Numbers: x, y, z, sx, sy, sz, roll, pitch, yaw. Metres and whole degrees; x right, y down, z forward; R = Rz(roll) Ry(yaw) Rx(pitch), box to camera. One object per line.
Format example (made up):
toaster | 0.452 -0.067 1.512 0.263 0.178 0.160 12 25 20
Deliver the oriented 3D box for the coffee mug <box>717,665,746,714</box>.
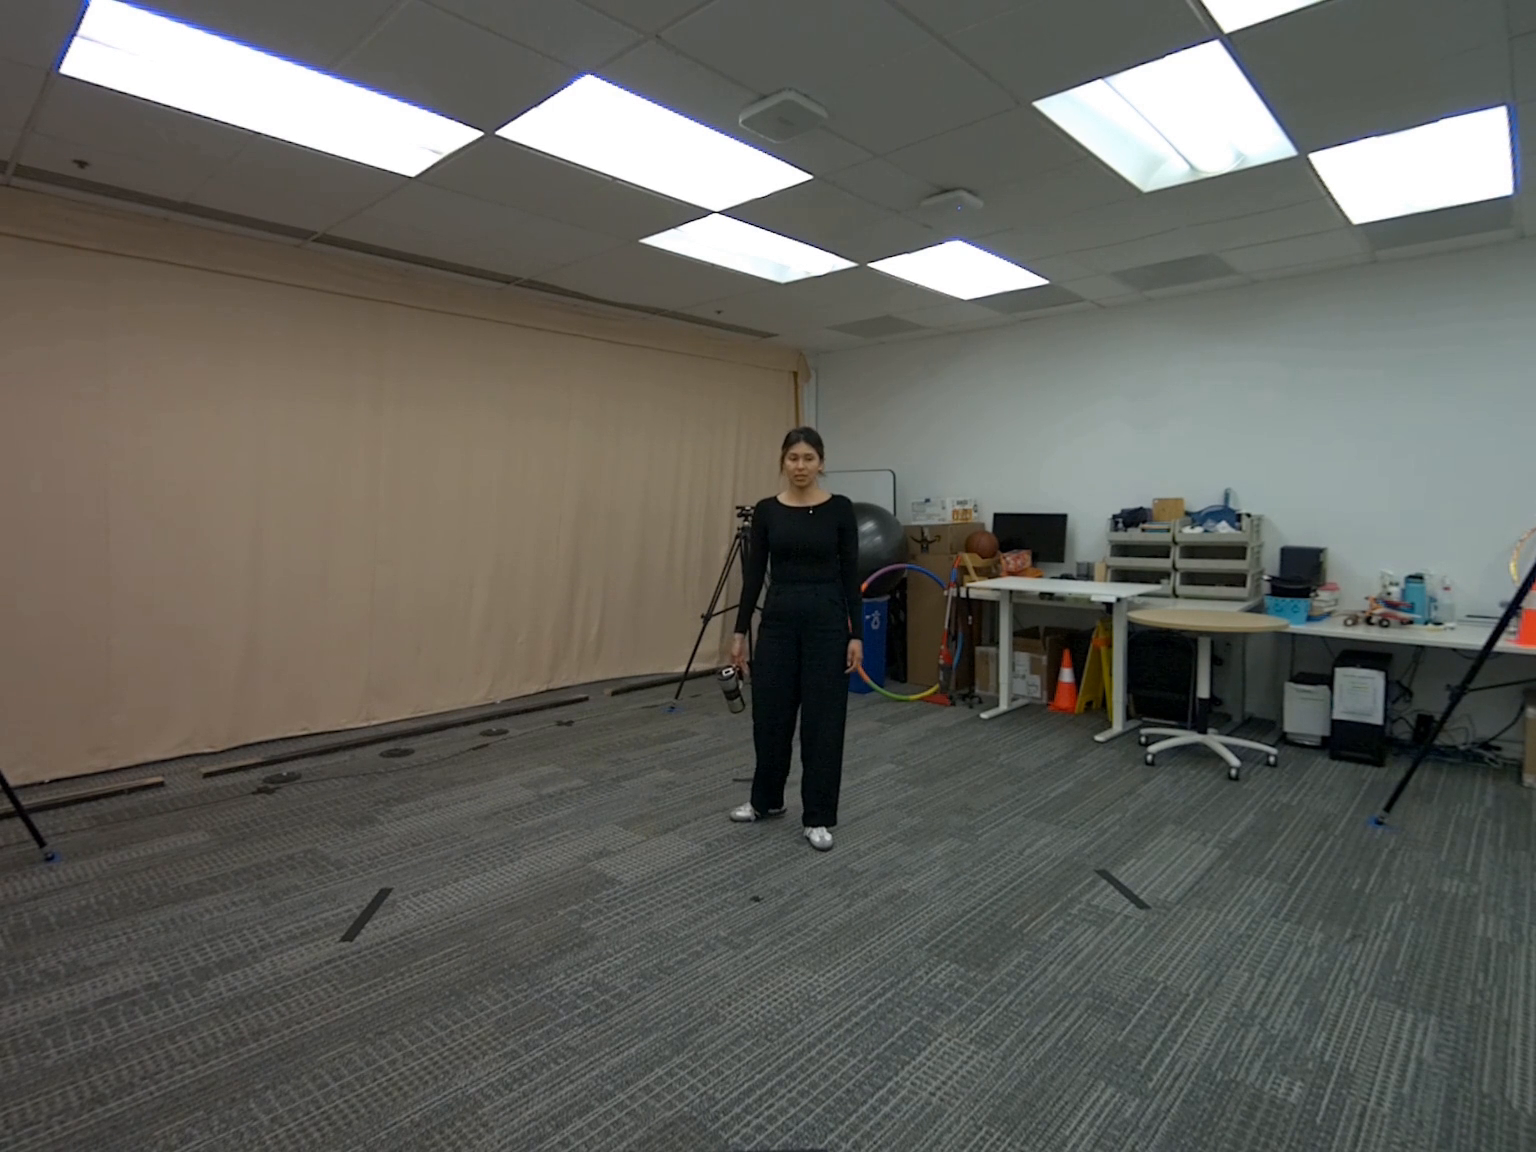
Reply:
coffee mug | -0.133 0.489 3.540 0.126 0.200 0.086 1 23 38
